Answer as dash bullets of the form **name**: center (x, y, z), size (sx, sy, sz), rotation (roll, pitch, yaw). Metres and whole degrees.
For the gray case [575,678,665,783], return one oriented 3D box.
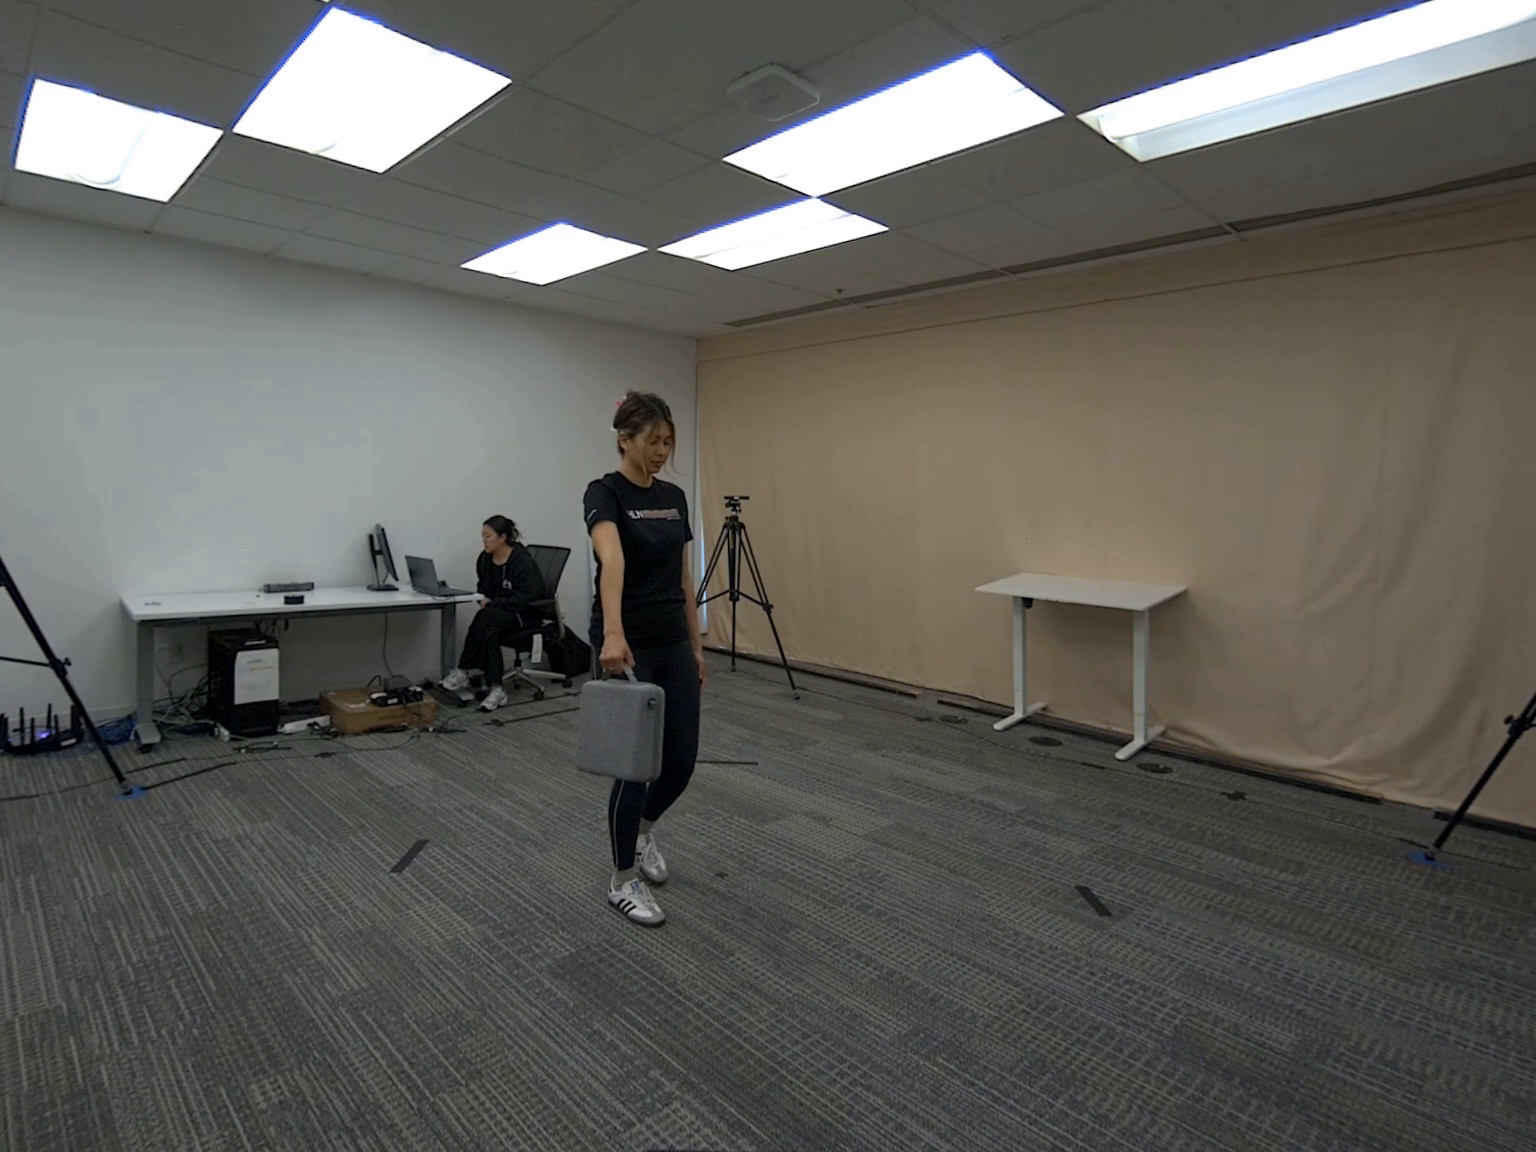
- **gray case**: center (-0.415, 0.414, 2.280), size (0.262, 0.262, 0.101), rotation (-4, -10, 41)
